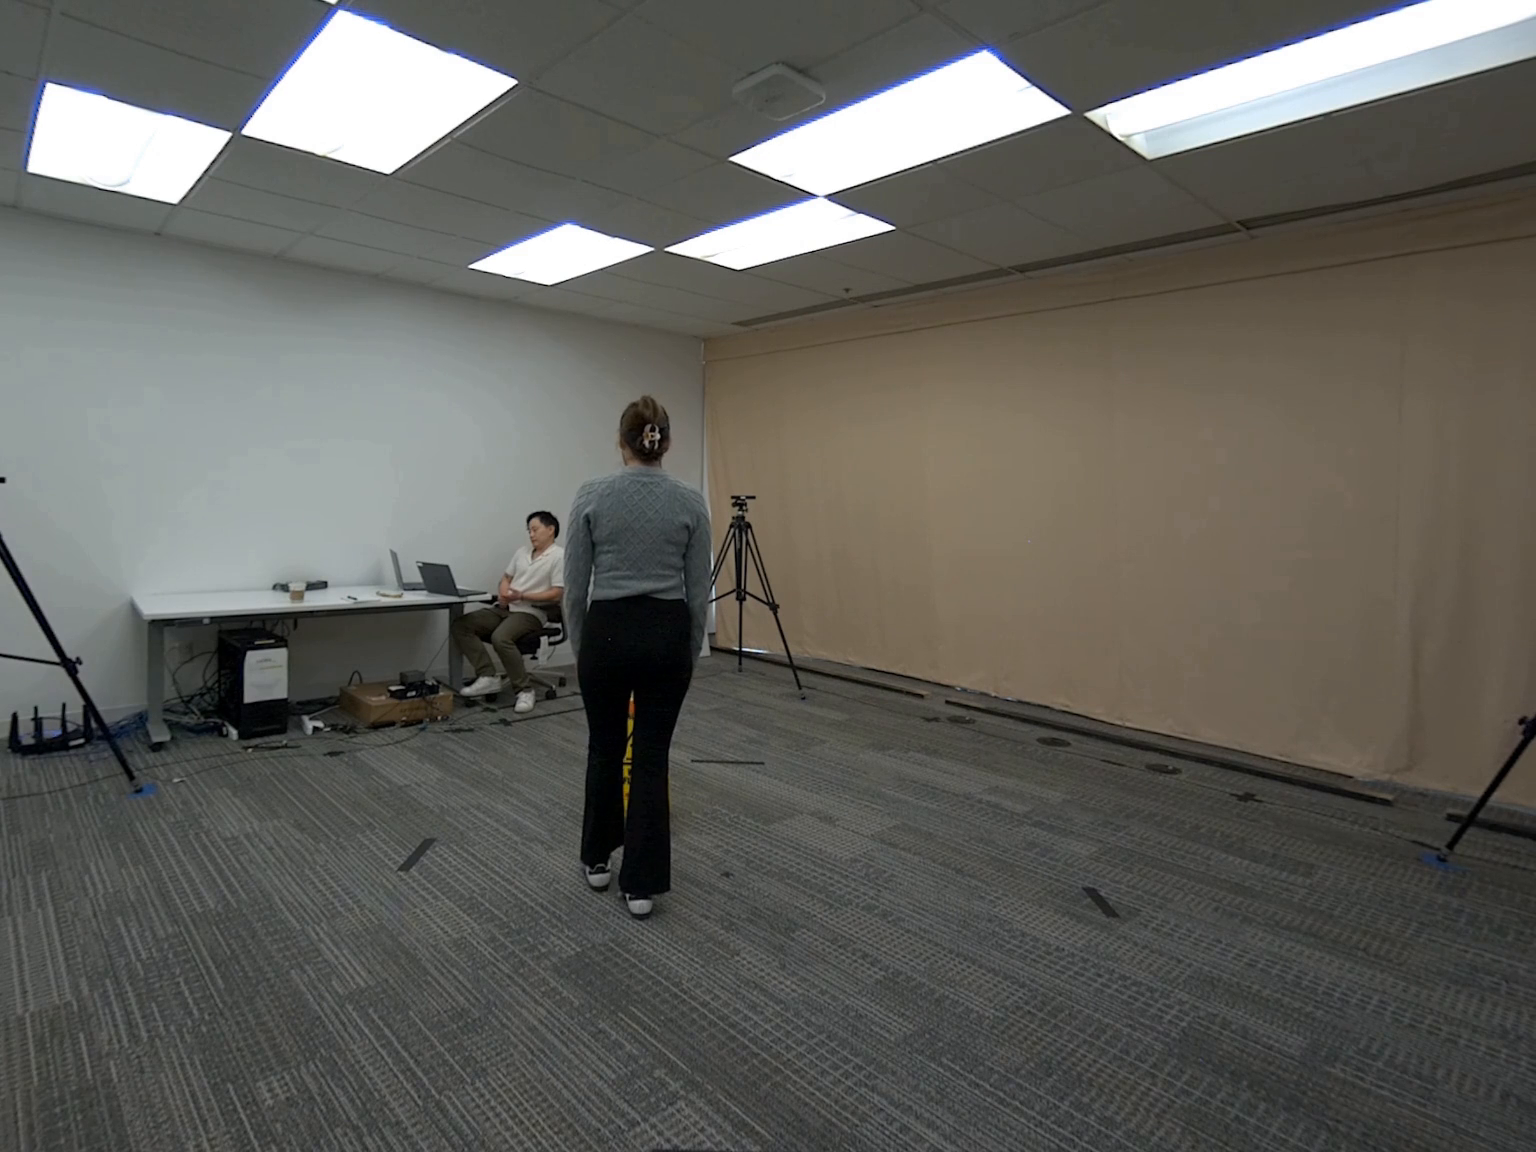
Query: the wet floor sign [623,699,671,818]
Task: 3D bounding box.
[{"bbox_3d":[-0.545,0.728,3.558,0.282,0.645,0.290,4,2,-2],"label":"wet floor sign"}]
